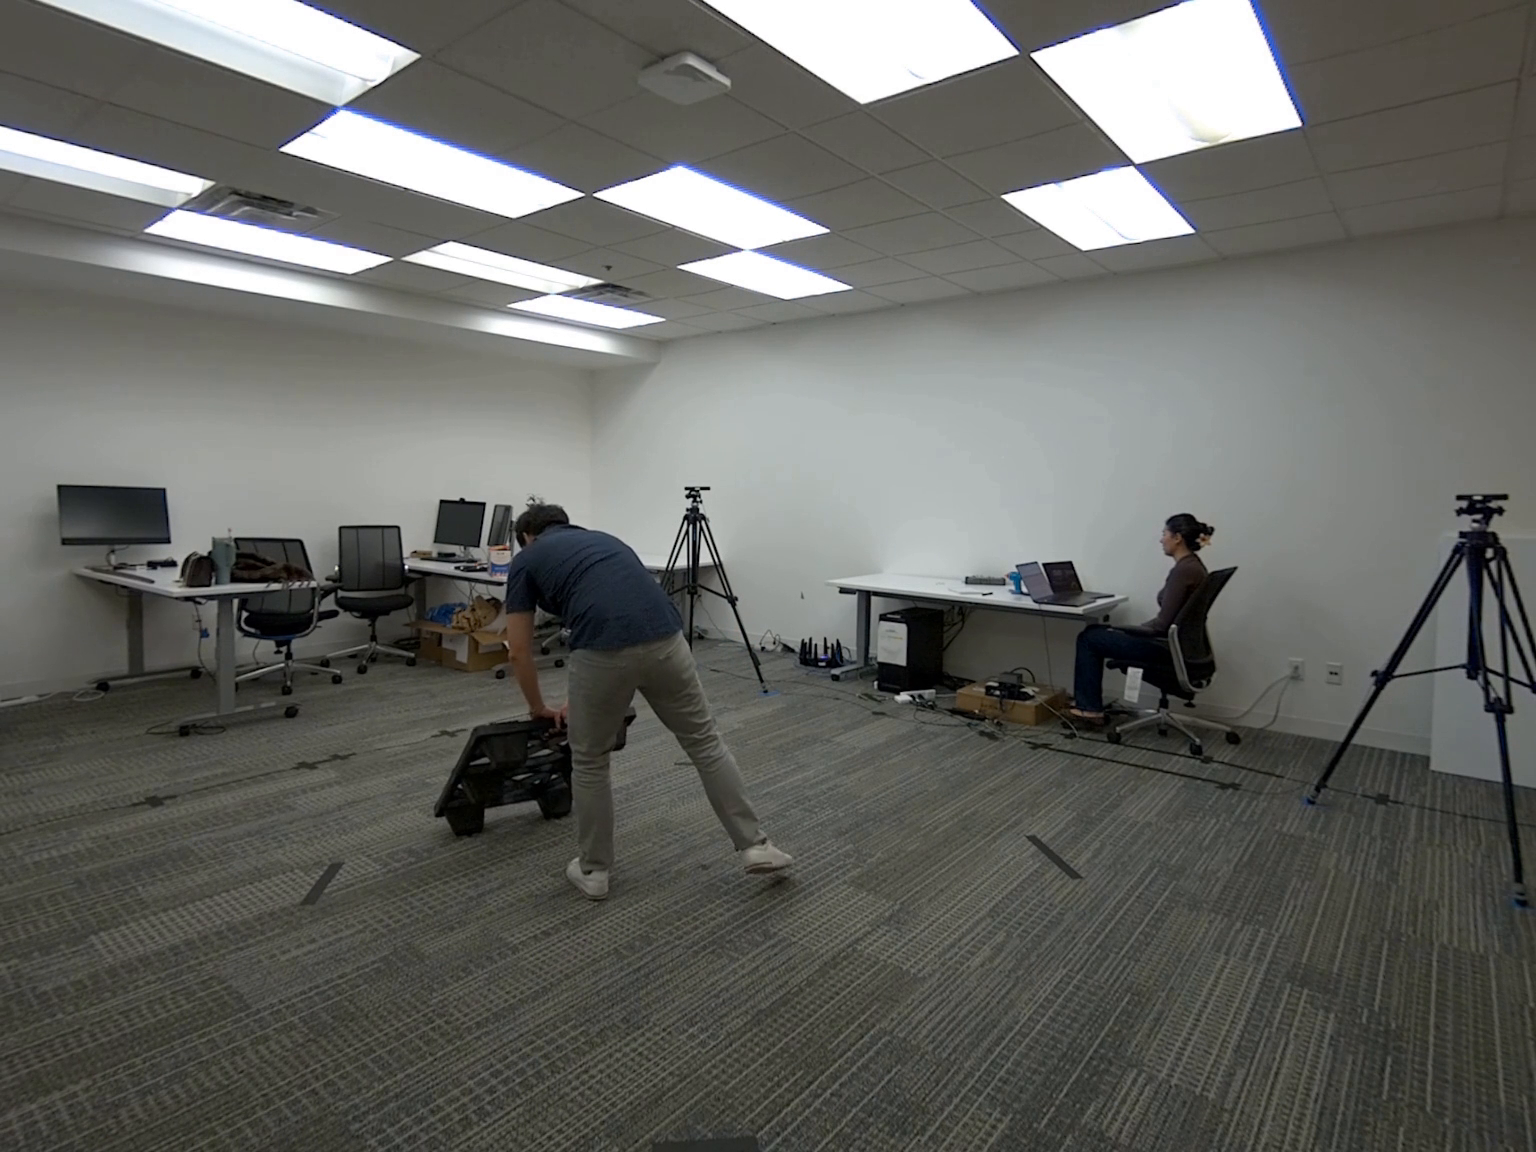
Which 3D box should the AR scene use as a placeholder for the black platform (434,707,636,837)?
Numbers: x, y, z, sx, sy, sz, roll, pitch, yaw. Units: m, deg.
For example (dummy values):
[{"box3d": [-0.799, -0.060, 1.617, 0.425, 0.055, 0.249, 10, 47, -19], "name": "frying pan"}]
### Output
[{"box3d": [-0.917, 0.762, 3.257, 0.589, 0.148, 0.802, -3, -32, -33], "name": "black platform"}]
